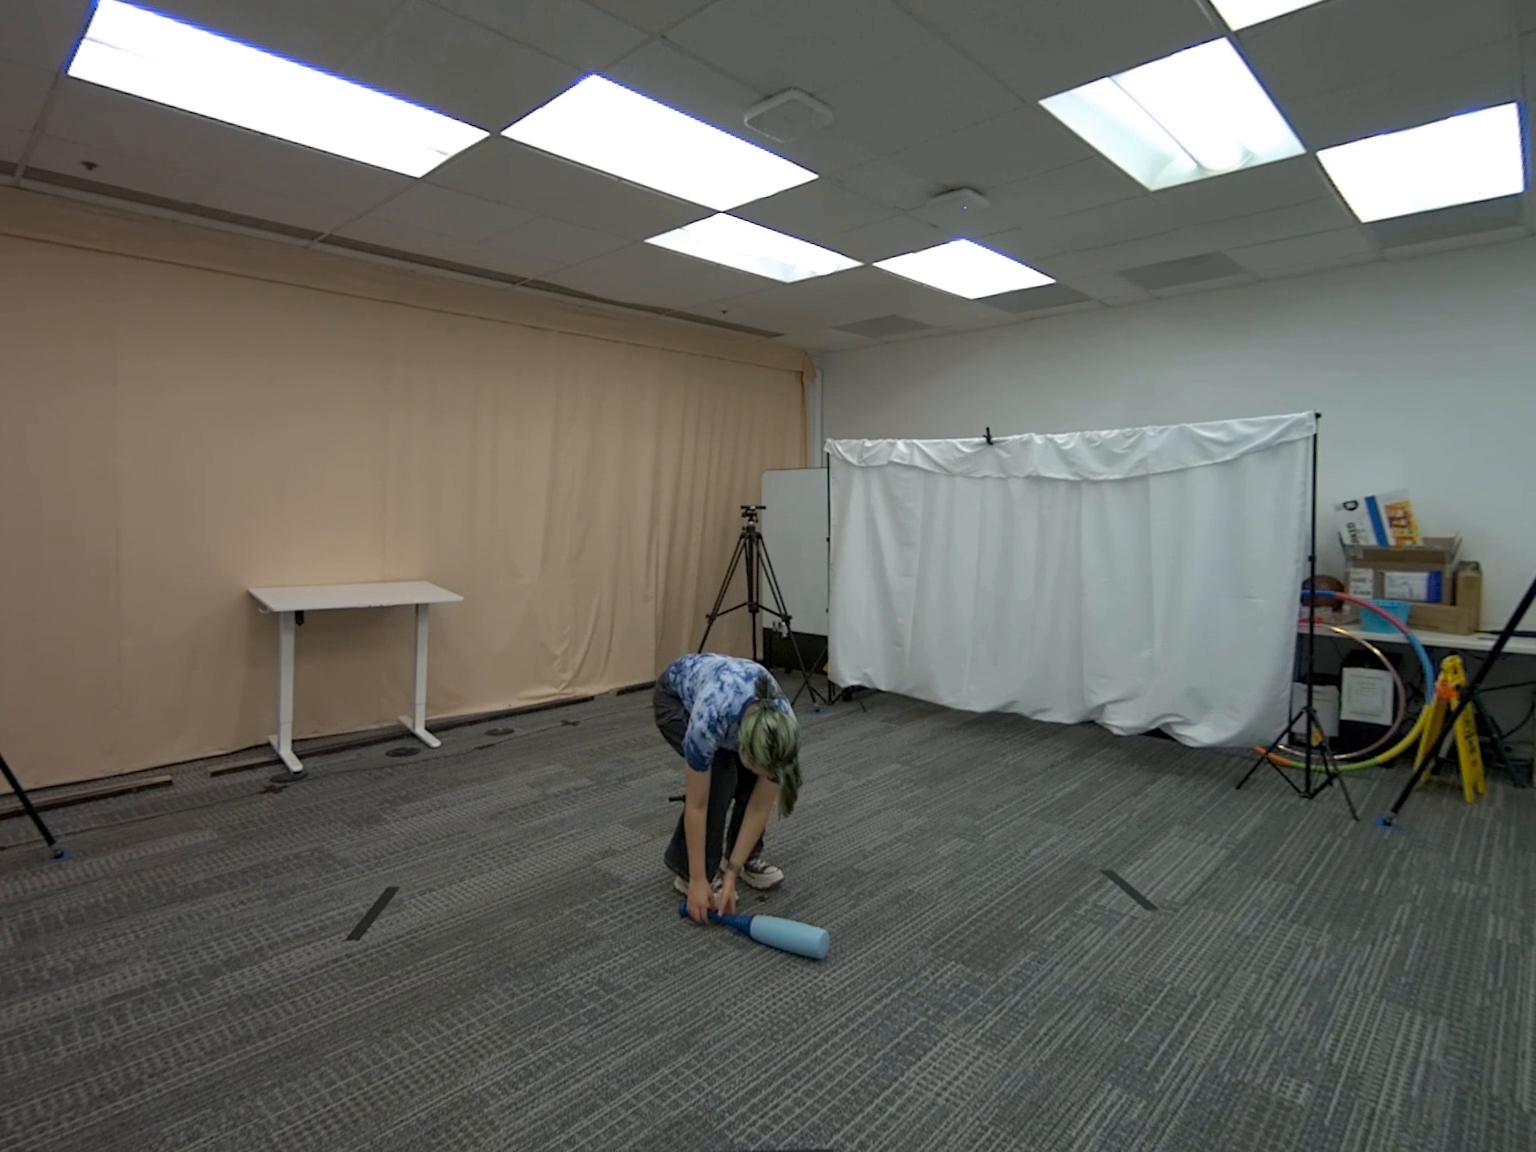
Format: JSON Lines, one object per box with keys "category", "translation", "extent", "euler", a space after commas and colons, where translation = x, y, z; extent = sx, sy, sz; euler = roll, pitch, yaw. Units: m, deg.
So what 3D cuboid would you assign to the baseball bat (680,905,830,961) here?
{"category": "baseball bat", "translation": [-0.059, 1.130, 2.716], "extent": [0.559, 0.089, 0.086], "euler": [-1, 3, 32]}
